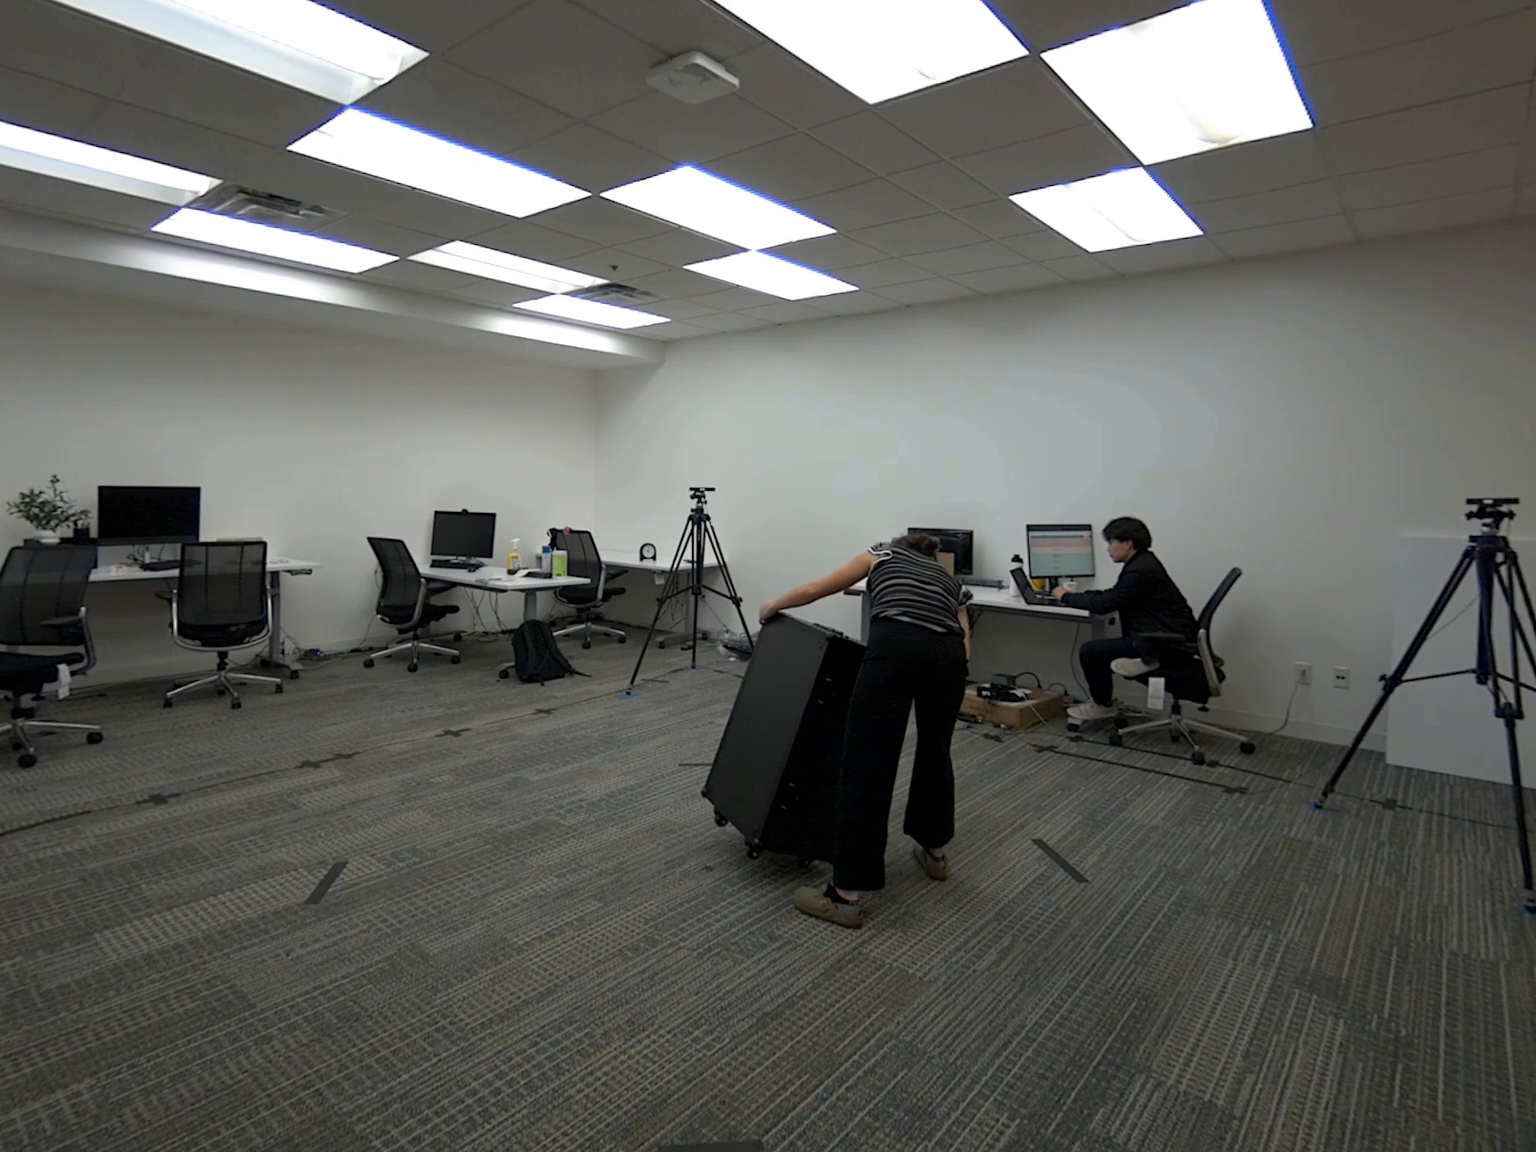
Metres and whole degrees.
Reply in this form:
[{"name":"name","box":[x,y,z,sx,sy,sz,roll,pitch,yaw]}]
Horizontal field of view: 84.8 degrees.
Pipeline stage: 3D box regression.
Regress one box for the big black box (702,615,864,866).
[{"name":"big black box","box":[0.104,0.613,3.240,0.384,0.862,0.537,22,-3,-27]}]
